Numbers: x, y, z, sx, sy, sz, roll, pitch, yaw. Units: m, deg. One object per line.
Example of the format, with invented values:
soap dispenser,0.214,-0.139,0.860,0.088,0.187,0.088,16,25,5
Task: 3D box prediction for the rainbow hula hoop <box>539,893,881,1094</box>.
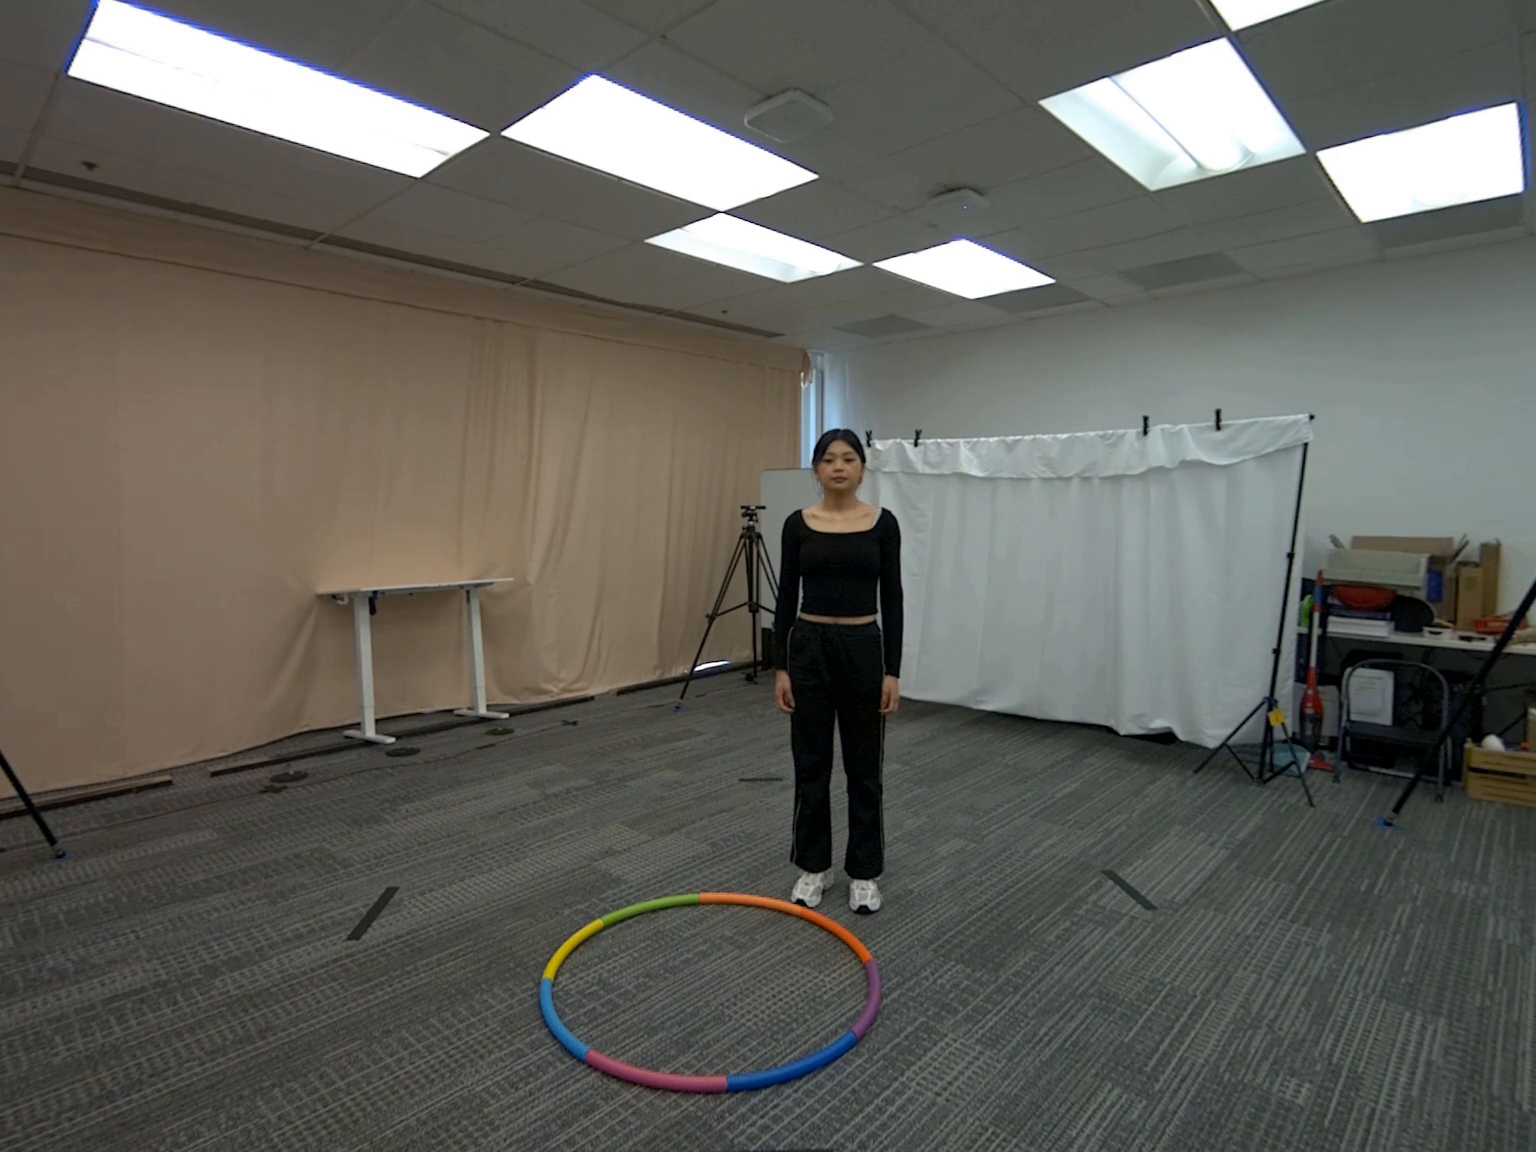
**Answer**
rainbow hula hoop,-0.166,1.157,2.479,0.978,0.035,0.982,0,4,-2
